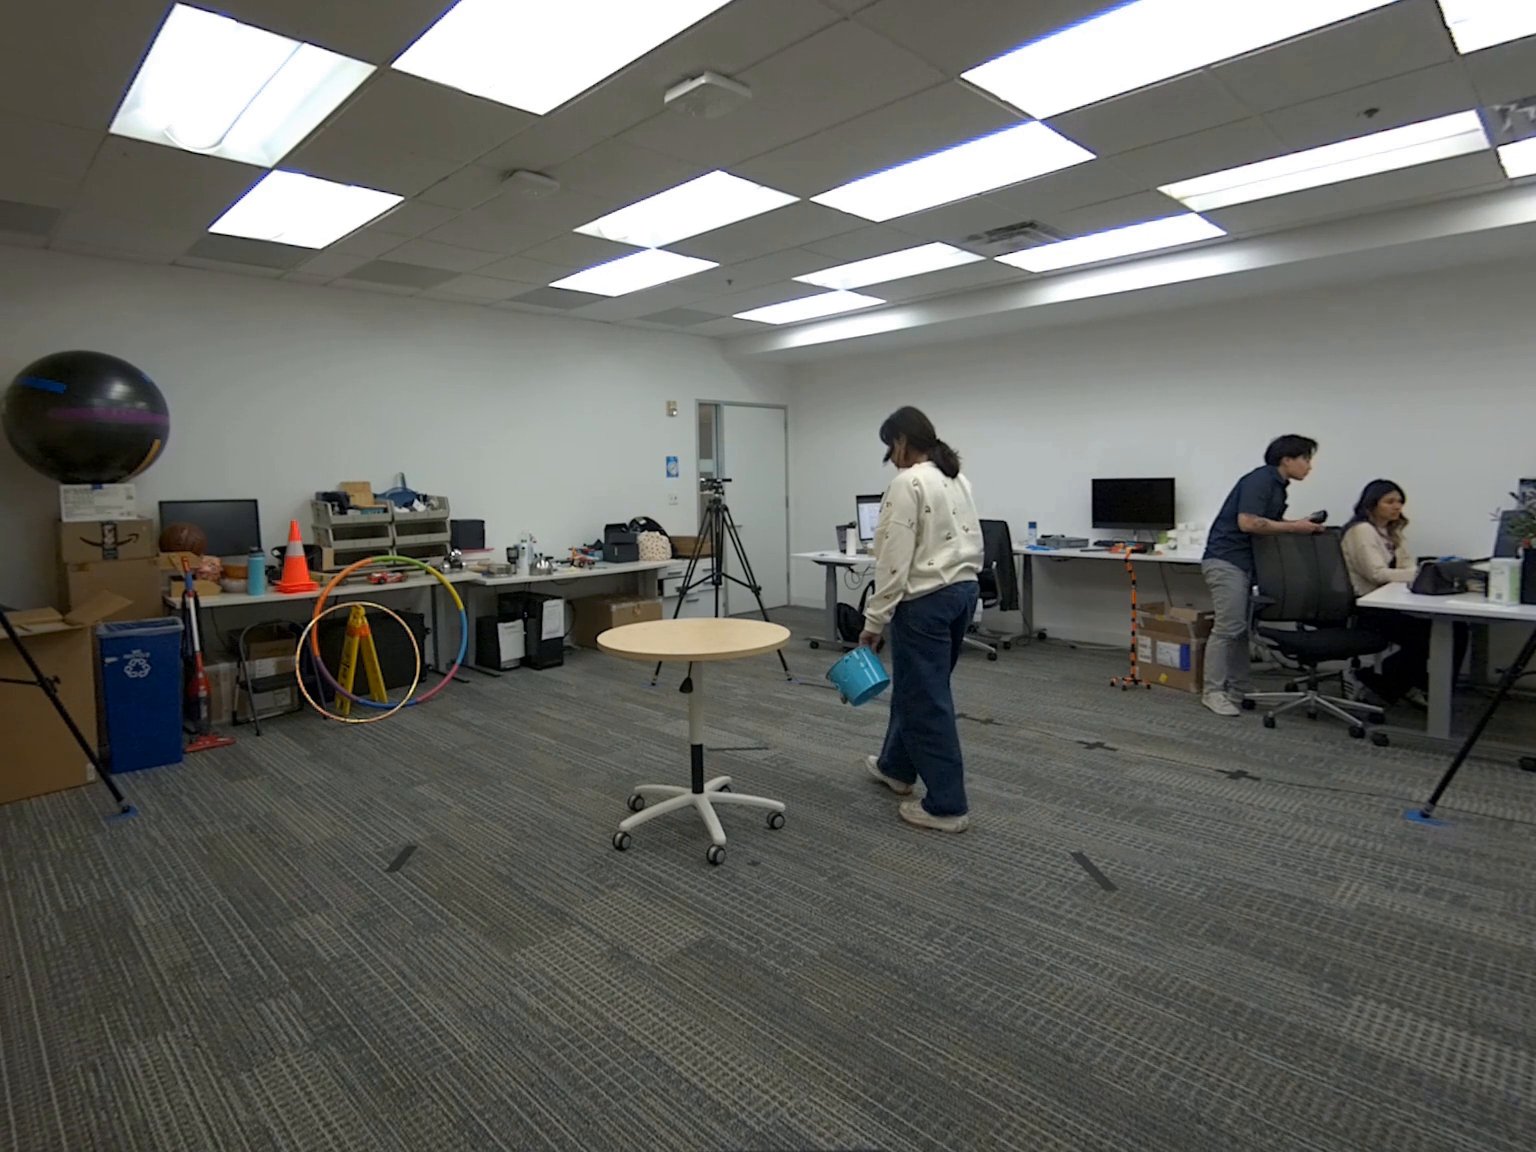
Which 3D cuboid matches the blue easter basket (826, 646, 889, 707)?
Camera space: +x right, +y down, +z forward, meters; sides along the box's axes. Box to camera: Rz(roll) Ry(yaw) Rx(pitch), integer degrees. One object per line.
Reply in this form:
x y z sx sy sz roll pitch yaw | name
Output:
0.361 0.404 3.388 0.242 0.161 0.238 -25 -27 -16 | blue easter basket
